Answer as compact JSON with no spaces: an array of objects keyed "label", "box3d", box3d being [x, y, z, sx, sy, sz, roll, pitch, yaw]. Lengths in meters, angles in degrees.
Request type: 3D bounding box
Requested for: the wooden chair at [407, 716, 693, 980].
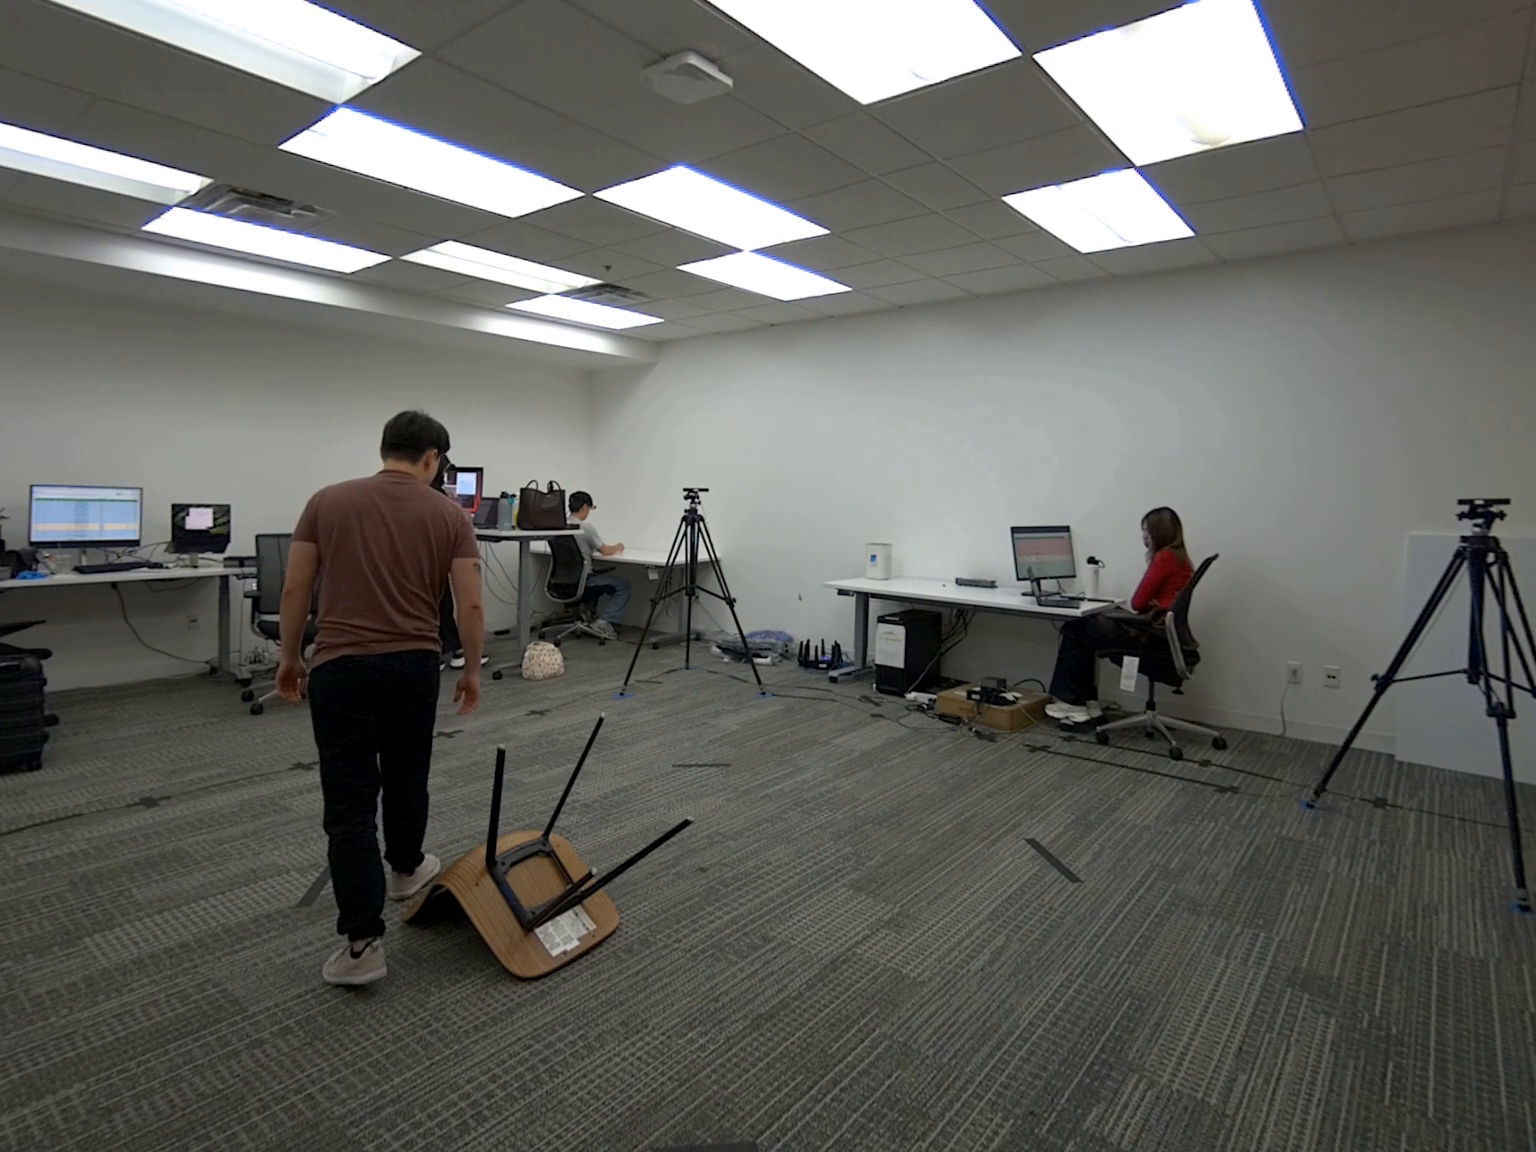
[{"label":"wooden chair","box3d":[-0.721,0.940,2.617,0.538,0.875,0.466,47,24,20]}]
